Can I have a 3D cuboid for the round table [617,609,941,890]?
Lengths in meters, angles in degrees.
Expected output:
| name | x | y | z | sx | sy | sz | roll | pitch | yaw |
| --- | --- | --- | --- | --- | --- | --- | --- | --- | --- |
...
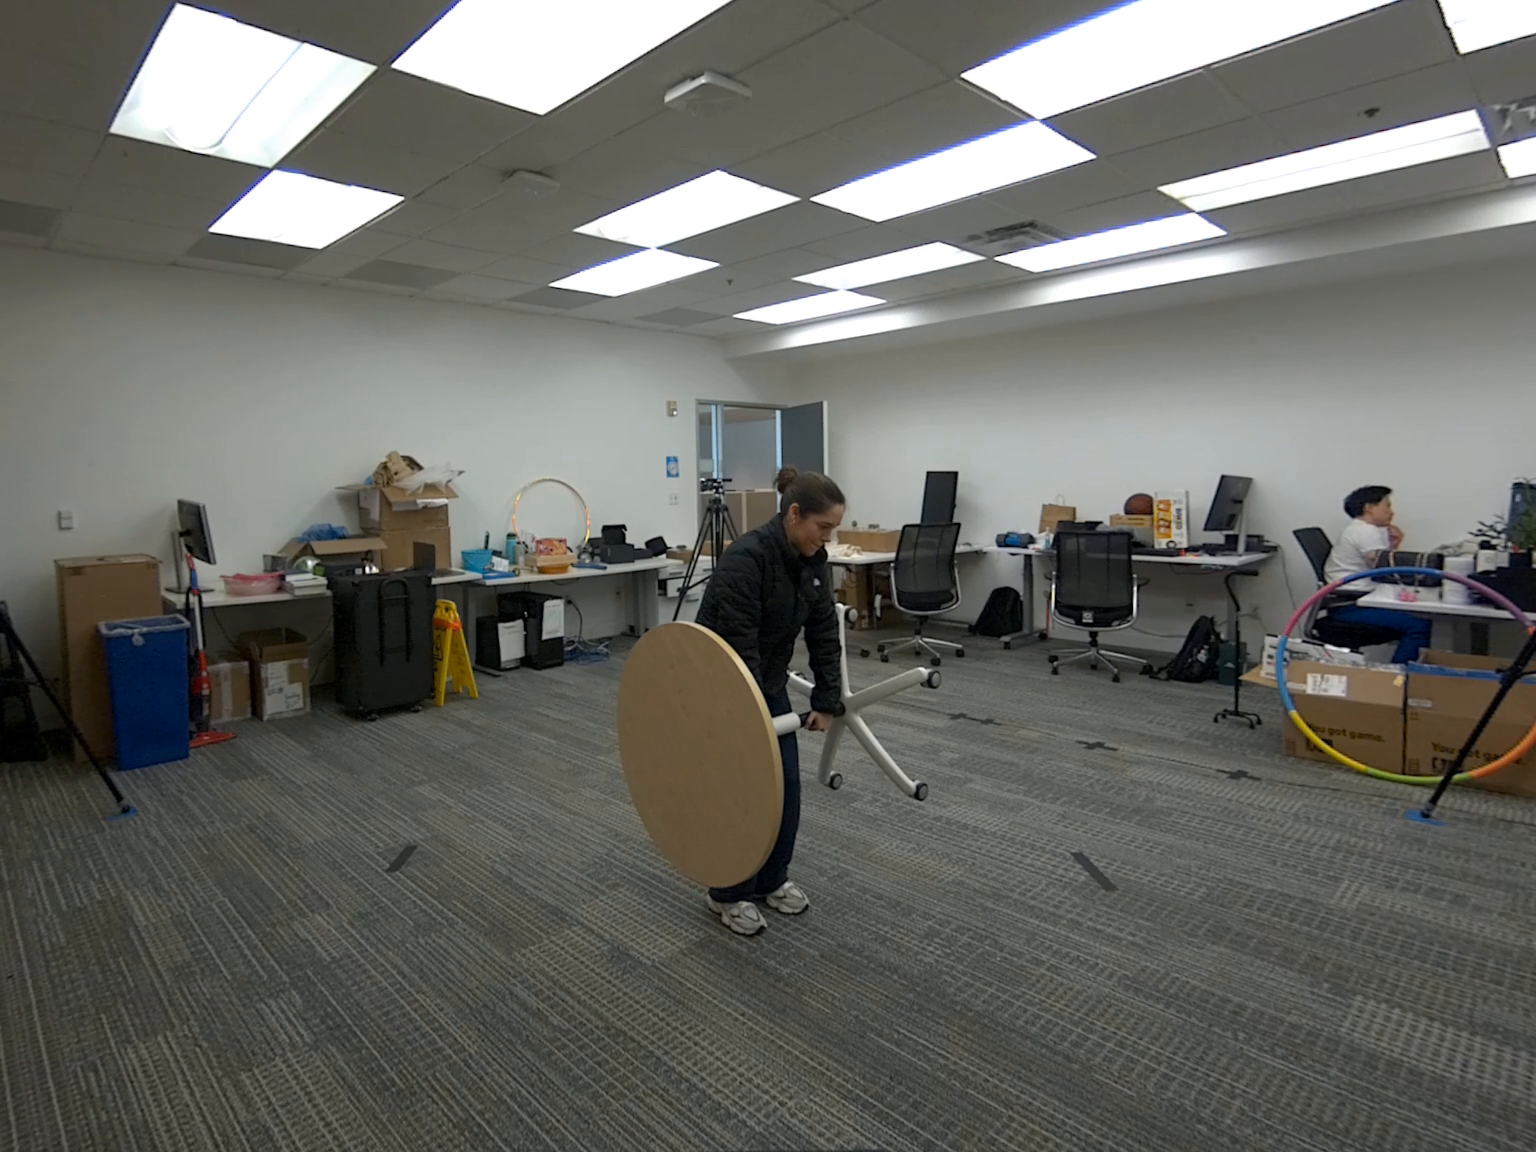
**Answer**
| name | x | y | z | sx | sy | sz | roll | pitch | yaw |
| --- | --- | --- | --- | --- | --- | --- | --- | --- | --- |
| round table | 0.052 | 0.493 | 2.766 | 0.766 | 0.782 | 0.809 | -5 | 6 | -42 |
